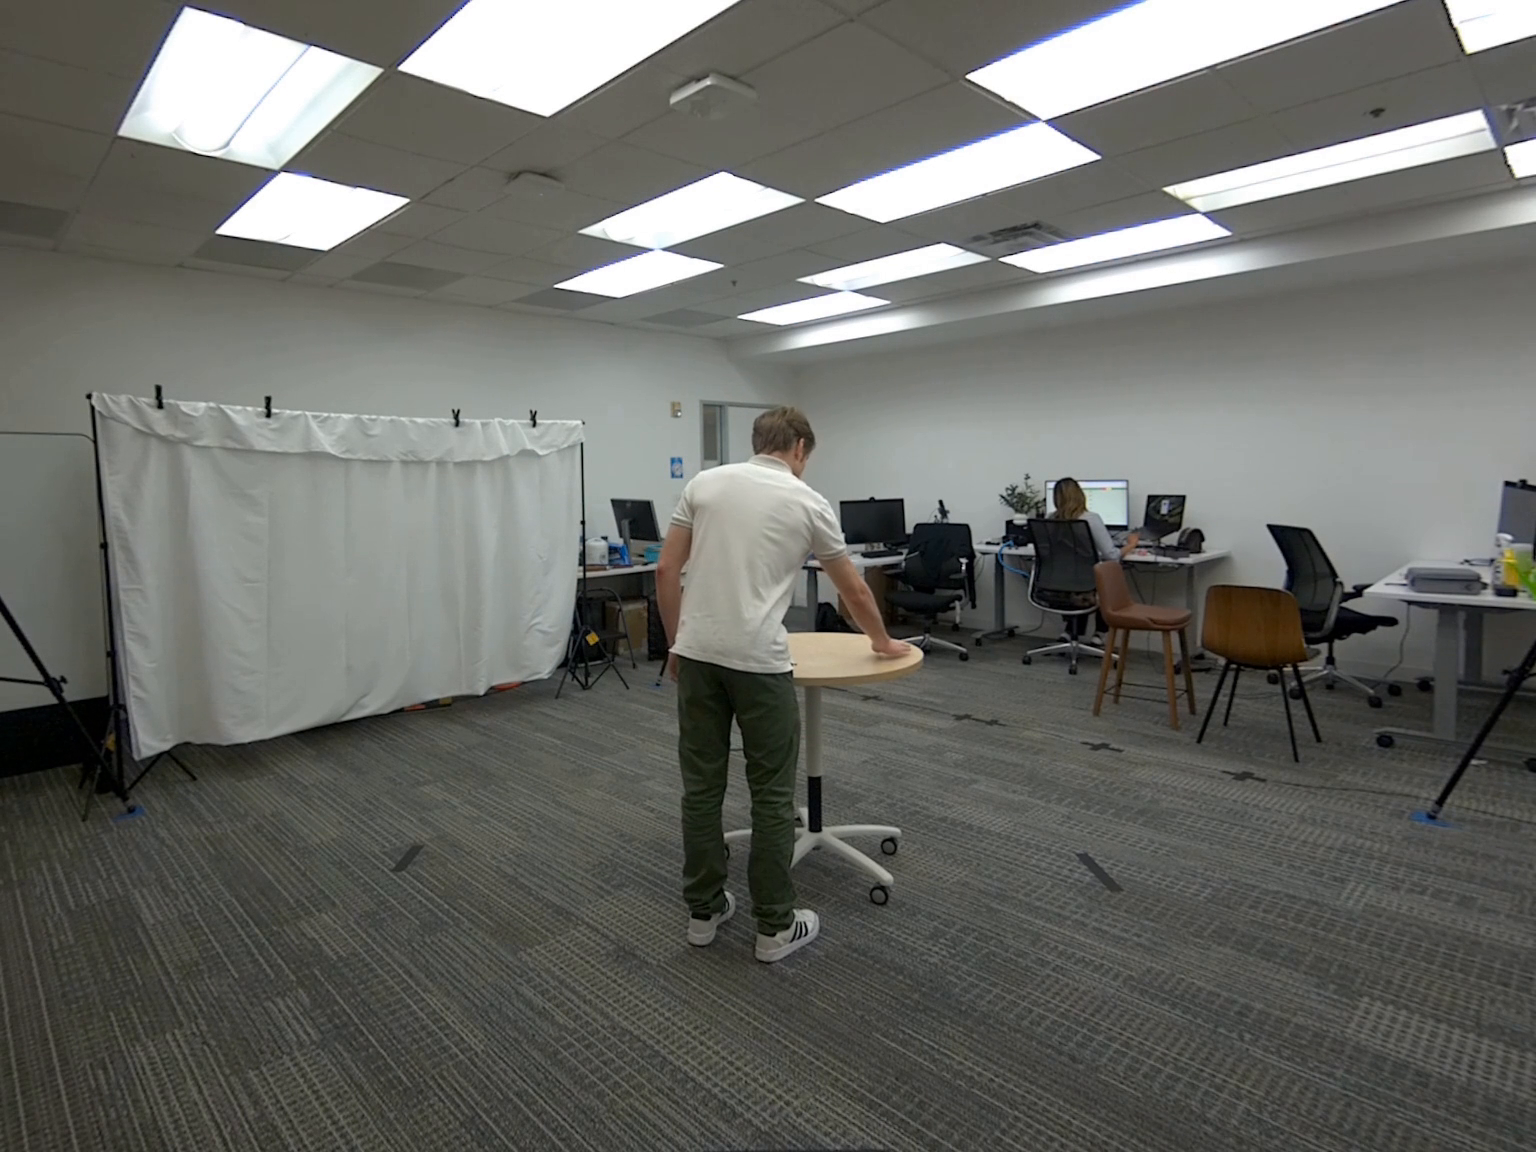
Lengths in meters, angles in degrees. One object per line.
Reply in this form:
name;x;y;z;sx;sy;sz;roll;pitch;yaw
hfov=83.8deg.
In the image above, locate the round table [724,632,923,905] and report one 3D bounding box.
round table;0.181;0.656;3.048;0.784;0.783;0.789;-2;5;-2
